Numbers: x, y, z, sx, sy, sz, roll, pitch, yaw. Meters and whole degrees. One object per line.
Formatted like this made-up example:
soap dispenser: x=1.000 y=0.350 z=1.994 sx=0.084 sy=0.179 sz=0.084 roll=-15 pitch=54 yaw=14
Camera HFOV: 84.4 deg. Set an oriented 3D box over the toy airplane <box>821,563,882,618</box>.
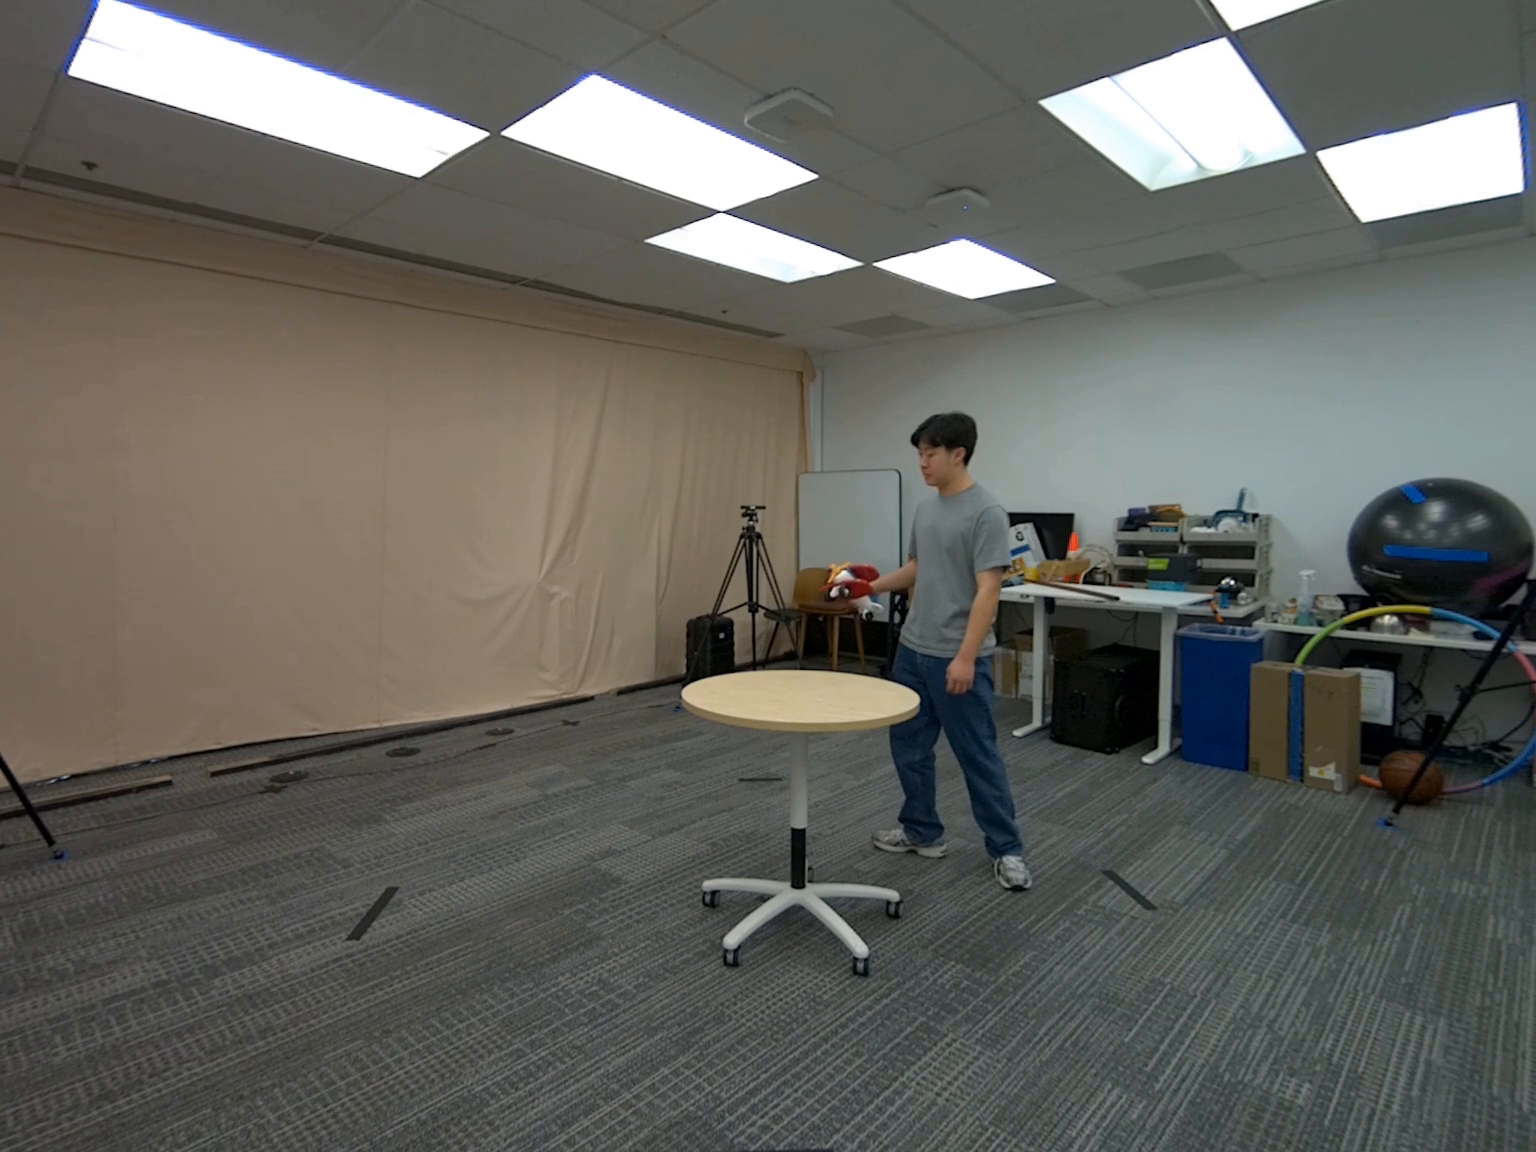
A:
toy airplane: x=0.334 y=0.070 z=3.358 sx=0.258 sy=0.157 sz=0.251 roll=4 pitch=-29 yaw=25
